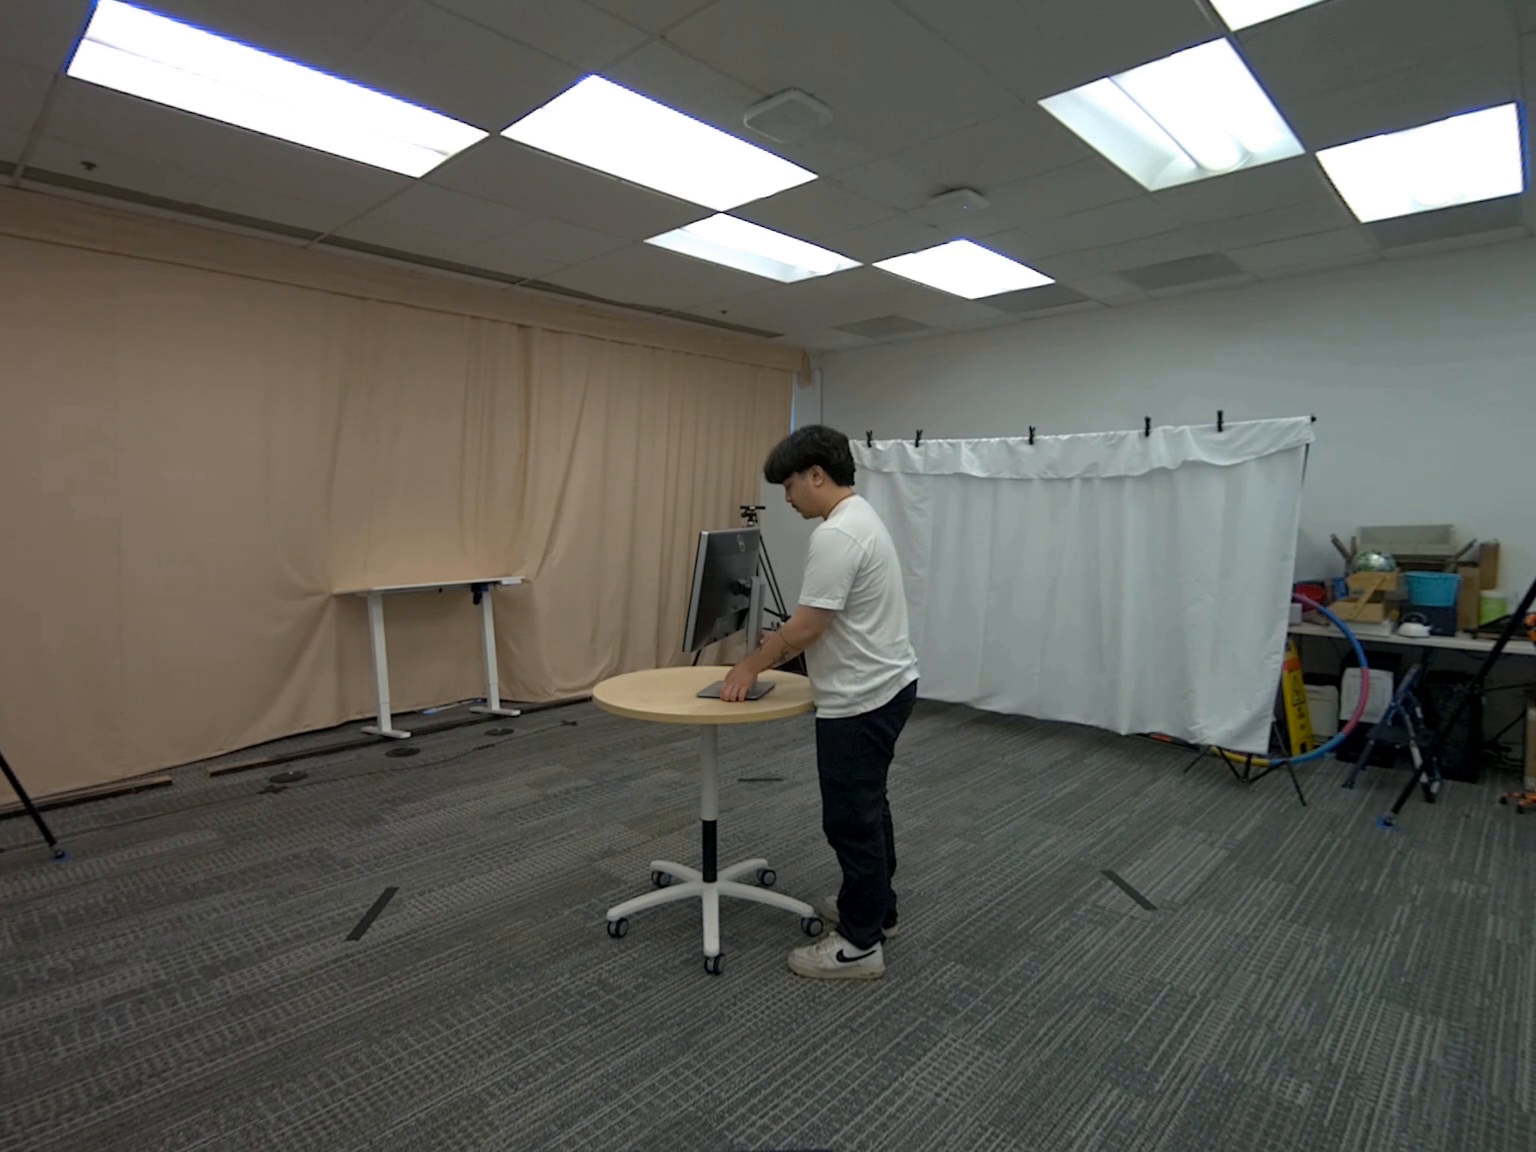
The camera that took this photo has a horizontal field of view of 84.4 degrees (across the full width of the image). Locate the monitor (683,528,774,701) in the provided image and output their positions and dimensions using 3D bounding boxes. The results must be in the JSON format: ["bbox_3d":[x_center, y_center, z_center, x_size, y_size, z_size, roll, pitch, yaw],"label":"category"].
[{"bbox_3d":[-0.076,0.124,2.697,0.214,0.552,0.556,5,5,16],"label":"monitor"}]
